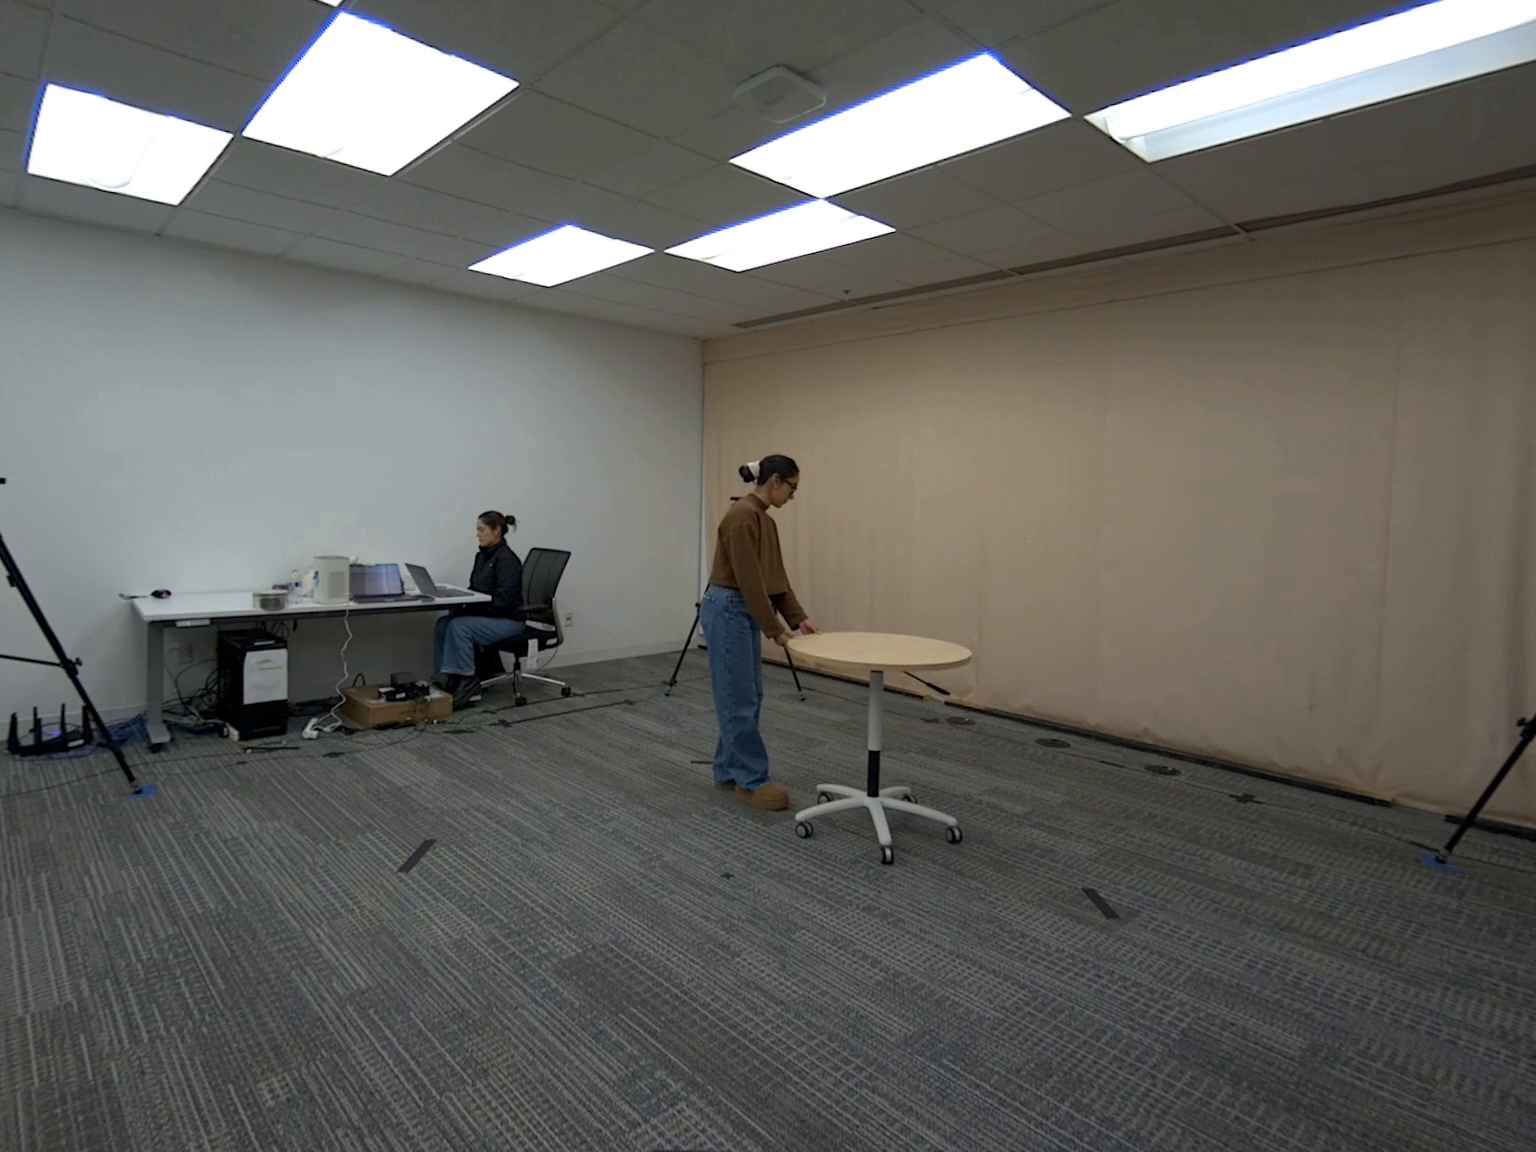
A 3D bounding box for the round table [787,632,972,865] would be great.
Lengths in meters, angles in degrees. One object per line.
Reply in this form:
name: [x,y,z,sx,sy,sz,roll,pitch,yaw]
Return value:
round table: [0.445,0.693,3.579,0.763,0.792,0.766,2,3,-1]
